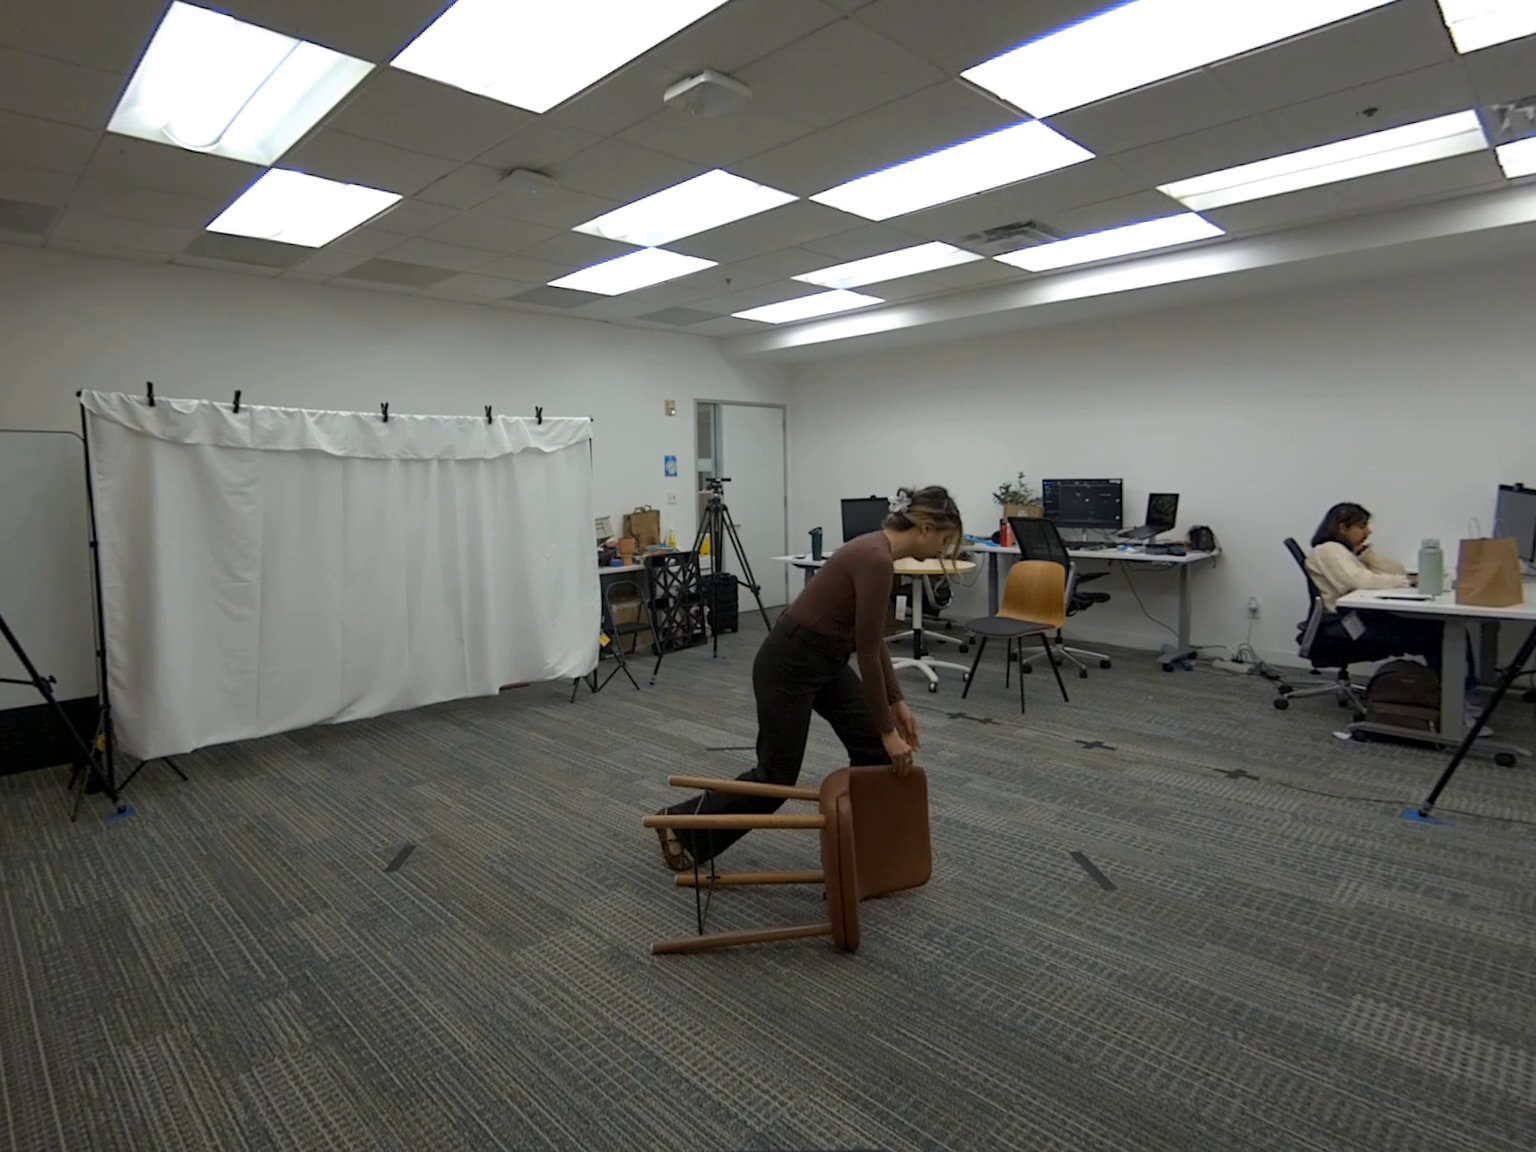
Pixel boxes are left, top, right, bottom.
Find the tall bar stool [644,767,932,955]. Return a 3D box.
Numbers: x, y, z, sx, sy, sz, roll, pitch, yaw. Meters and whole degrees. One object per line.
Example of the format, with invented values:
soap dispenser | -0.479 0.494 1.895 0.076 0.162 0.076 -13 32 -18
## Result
tall bar stool | 0.098 0.874 2.684 0.894 0.456 0.466 -3 3 5
